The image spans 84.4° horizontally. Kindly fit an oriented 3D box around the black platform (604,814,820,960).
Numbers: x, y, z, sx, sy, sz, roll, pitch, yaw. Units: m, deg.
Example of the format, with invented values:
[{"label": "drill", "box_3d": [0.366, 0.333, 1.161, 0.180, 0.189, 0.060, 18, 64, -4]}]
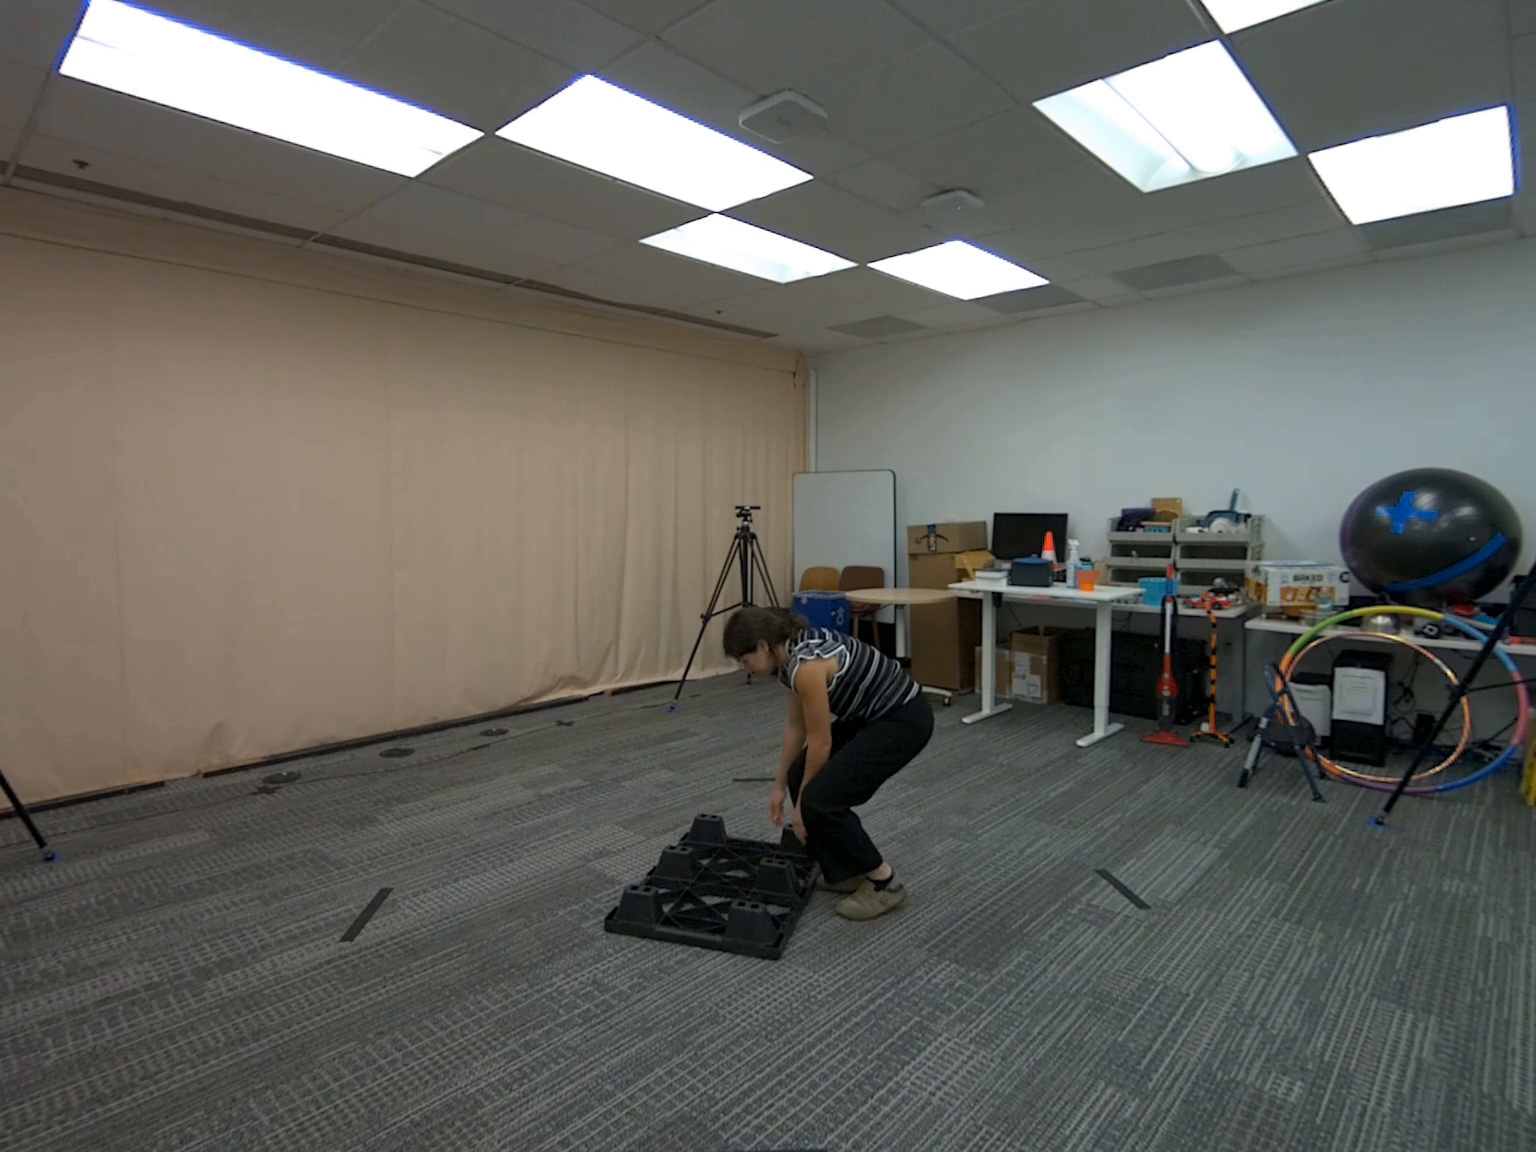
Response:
[{"label": "black platform", "box_3d": [-0.148, 1.076, 3.033, 0.616, 0.143, 0.793, 1, 5, 16]}]
